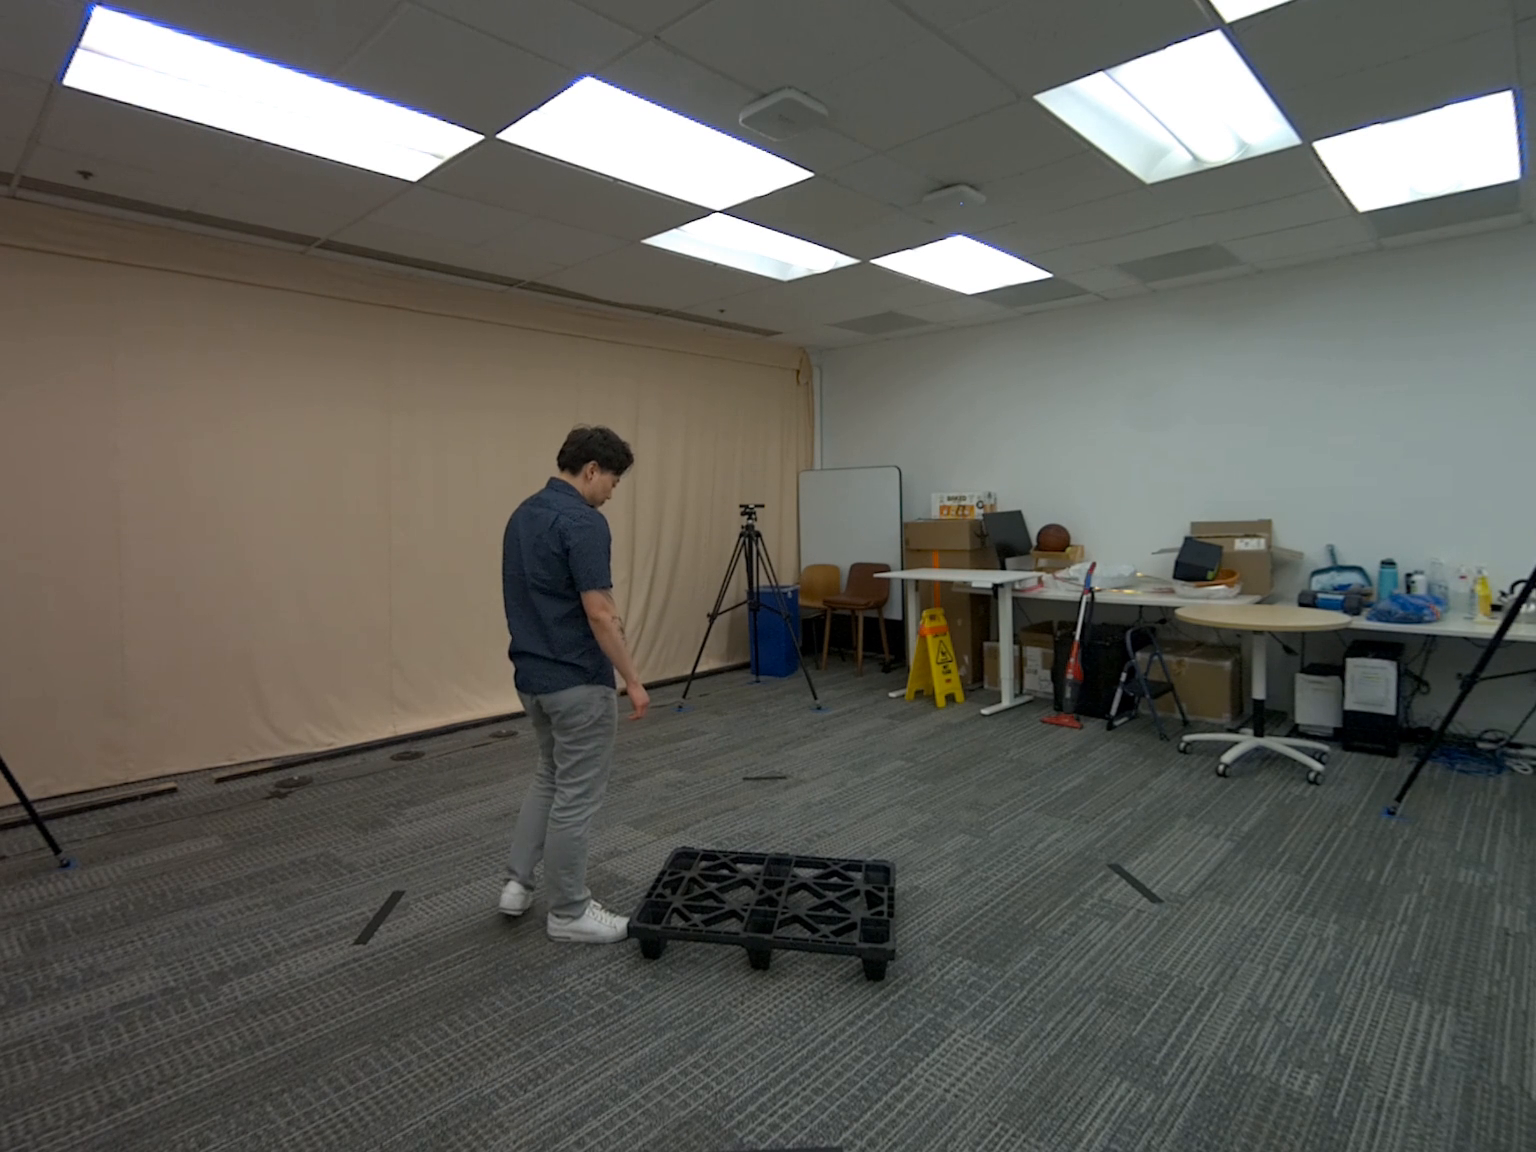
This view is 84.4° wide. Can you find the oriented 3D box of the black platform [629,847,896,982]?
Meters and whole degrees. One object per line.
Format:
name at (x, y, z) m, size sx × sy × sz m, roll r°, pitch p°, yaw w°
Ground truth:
black platform at (0.007, 1.092, 2.748) m, size 0.815 × 0.143 × 0.599 m, roll 0°, pitch 5°, yaw 10°
